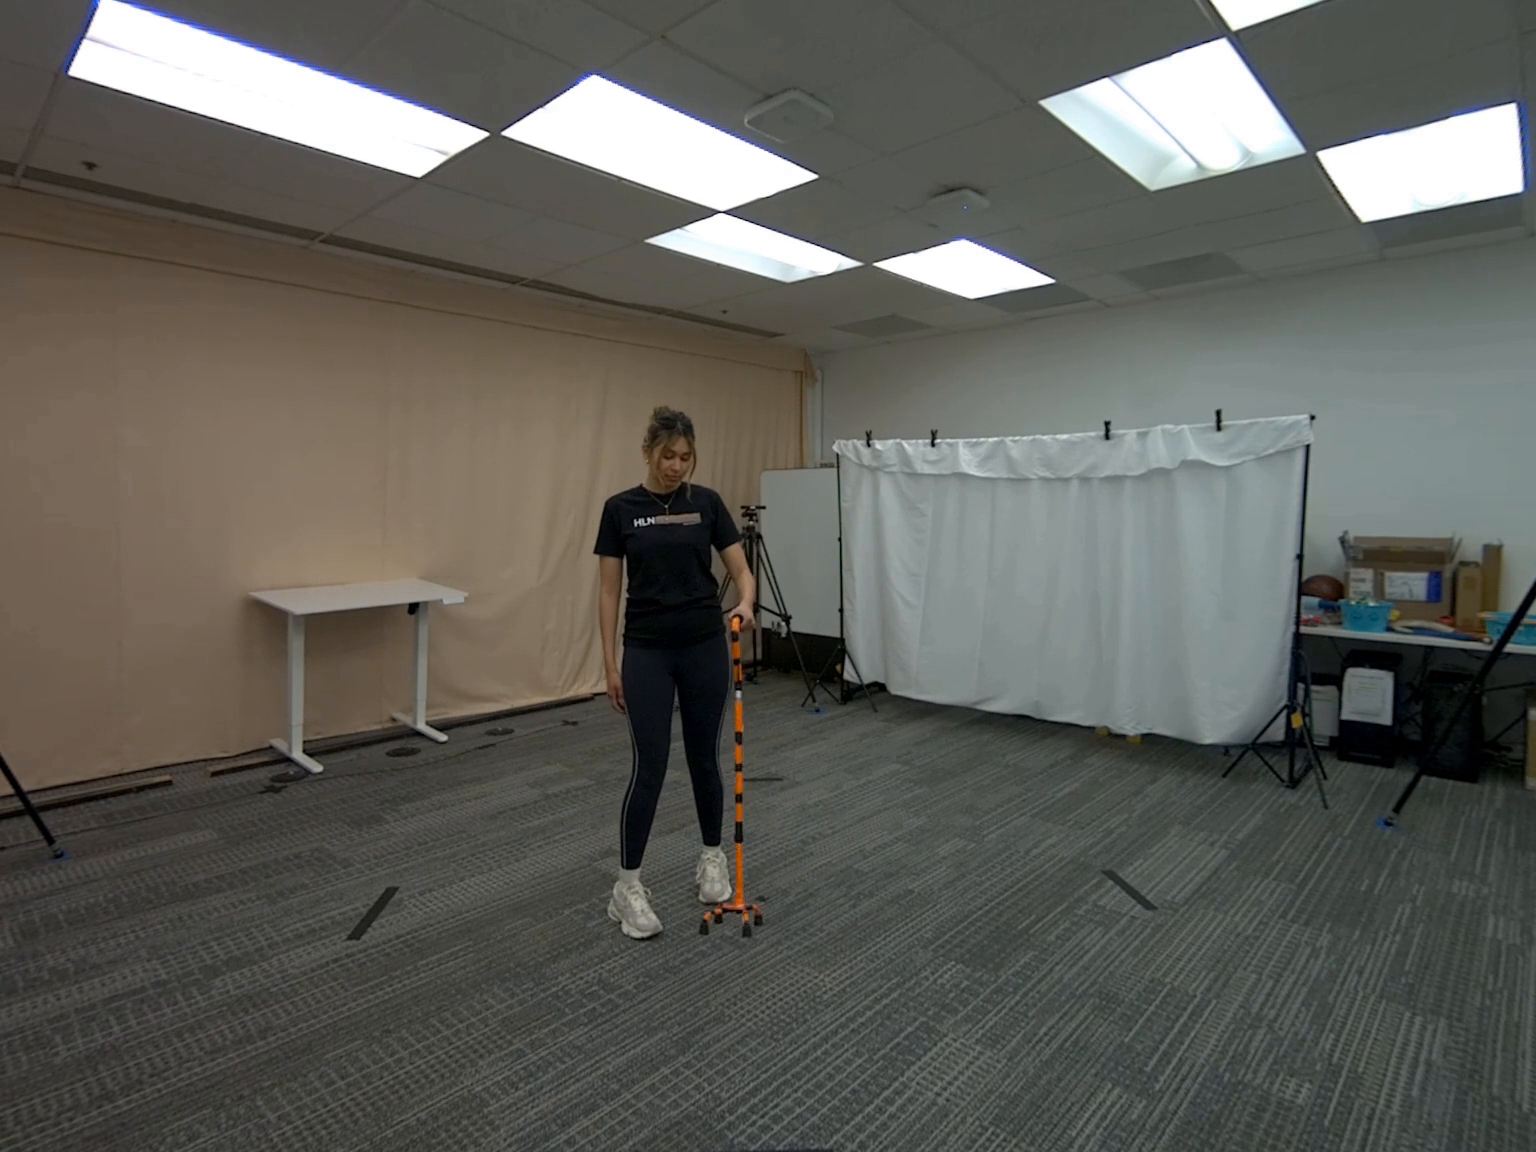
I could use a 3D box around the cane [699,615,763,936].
[{"bbox_3d":[-0.098,0.576,2.522,0.154,0.915,0.202,-3,-13,13],"label":"cane"}]
